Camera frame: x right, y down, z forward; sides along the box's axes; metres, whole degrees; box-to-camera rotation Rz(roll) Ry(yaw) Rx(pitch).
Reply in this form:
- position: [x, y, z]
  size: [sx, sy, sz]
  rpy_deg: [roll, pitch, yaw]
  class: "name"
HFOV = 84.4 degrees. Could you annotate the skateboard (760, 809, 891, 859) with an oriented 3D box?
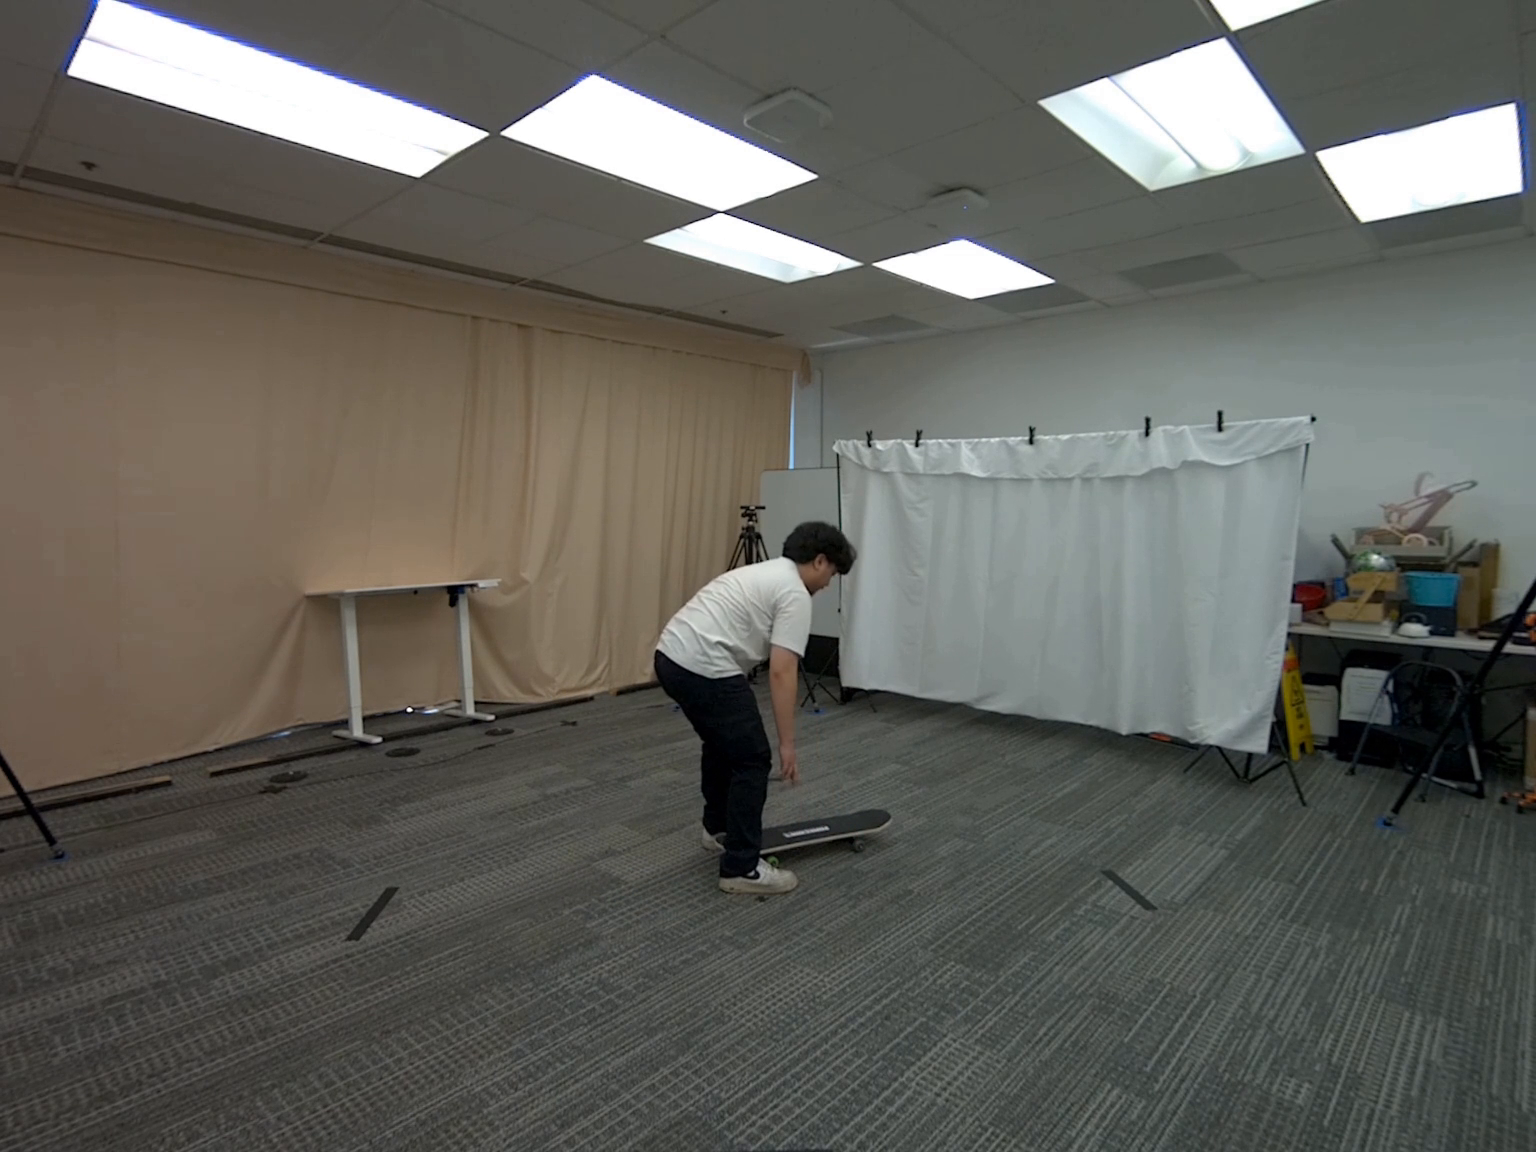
- position: [0.151, 1.057, 3.371]
  size: [0.767, 0.110, 0.198]
  rpy_deg: [-2, 5, -25]
  class: "skateboard"
